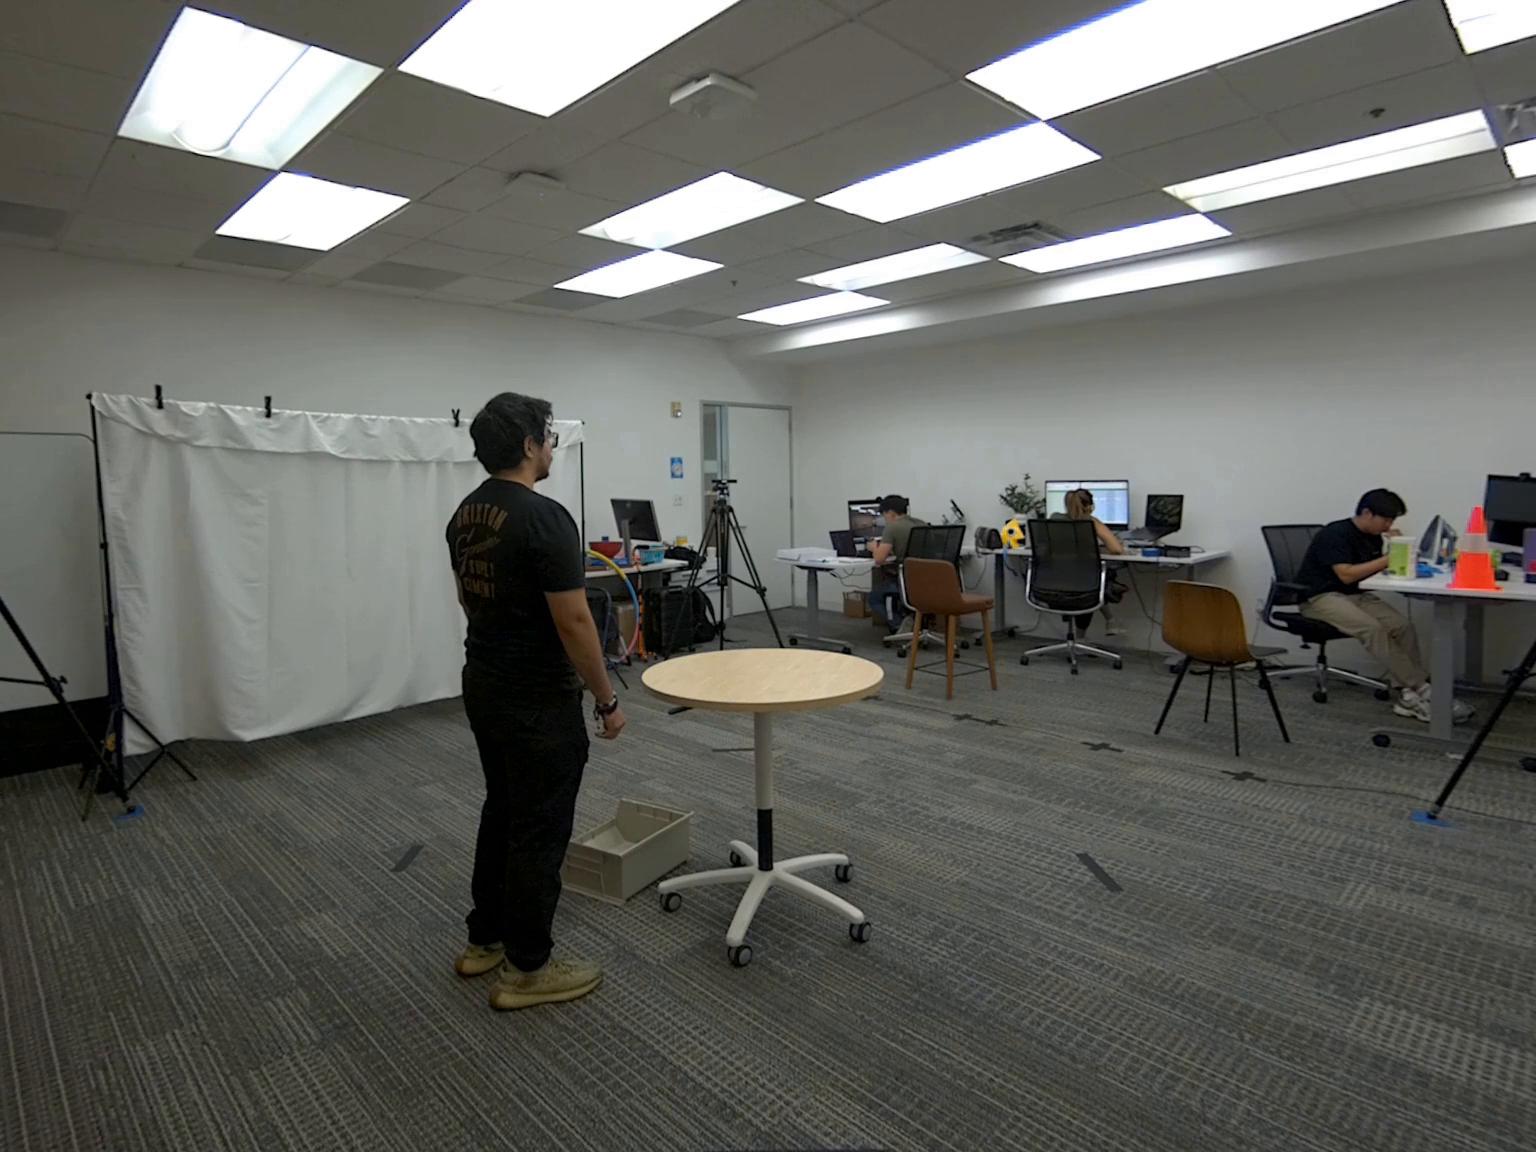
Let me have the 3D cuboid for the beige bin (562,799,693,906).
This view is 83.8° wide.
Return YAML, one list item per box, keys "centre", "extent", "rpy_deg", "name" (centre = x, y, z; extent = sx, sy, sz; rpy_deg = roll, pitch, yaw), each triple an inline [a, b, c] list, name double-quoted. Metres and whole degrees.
- centre: [-0.534, 0.973, 3.069]
  extent: [0.388, 0.188, 0.413]
  rpy_deg: [3, 7, 31]
  name: "beige bin"
